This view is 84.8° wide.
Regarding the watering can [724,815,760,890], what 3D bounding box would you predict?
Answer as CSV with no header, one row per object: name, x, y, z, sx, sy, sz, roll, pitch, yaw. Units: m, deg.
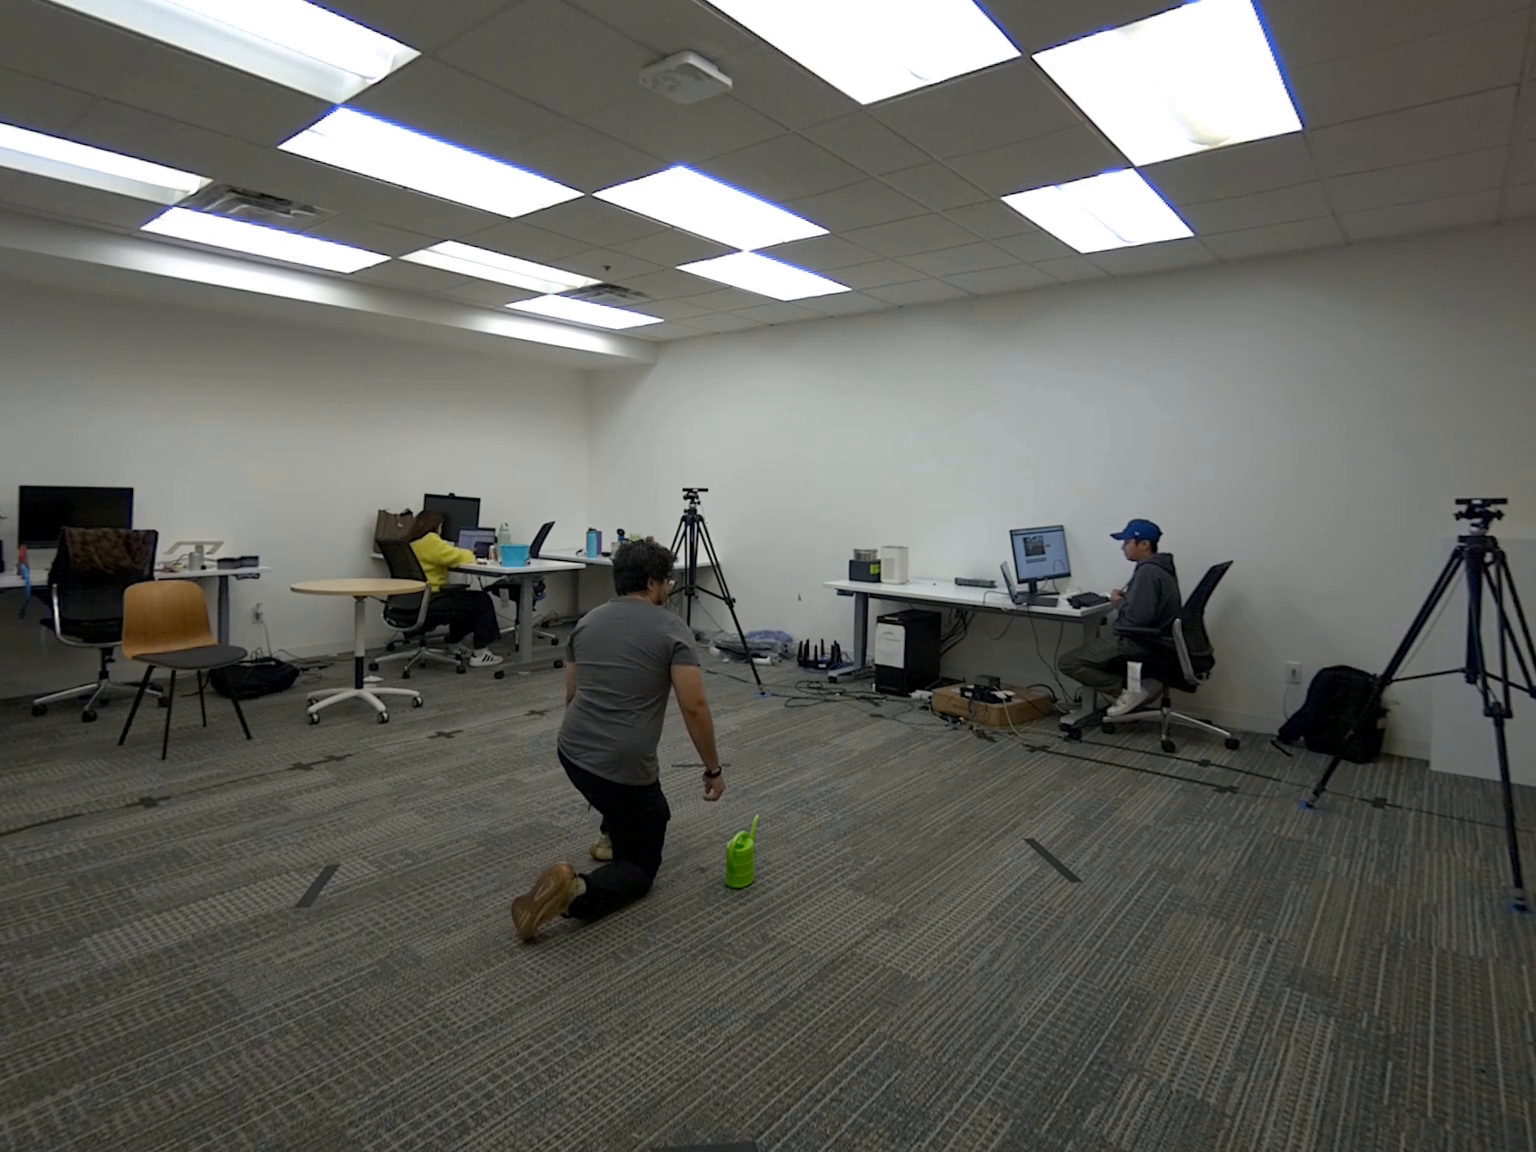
watering can,-0.084,0.991,3.048,0.101,0.176,0.270,5,6,34
